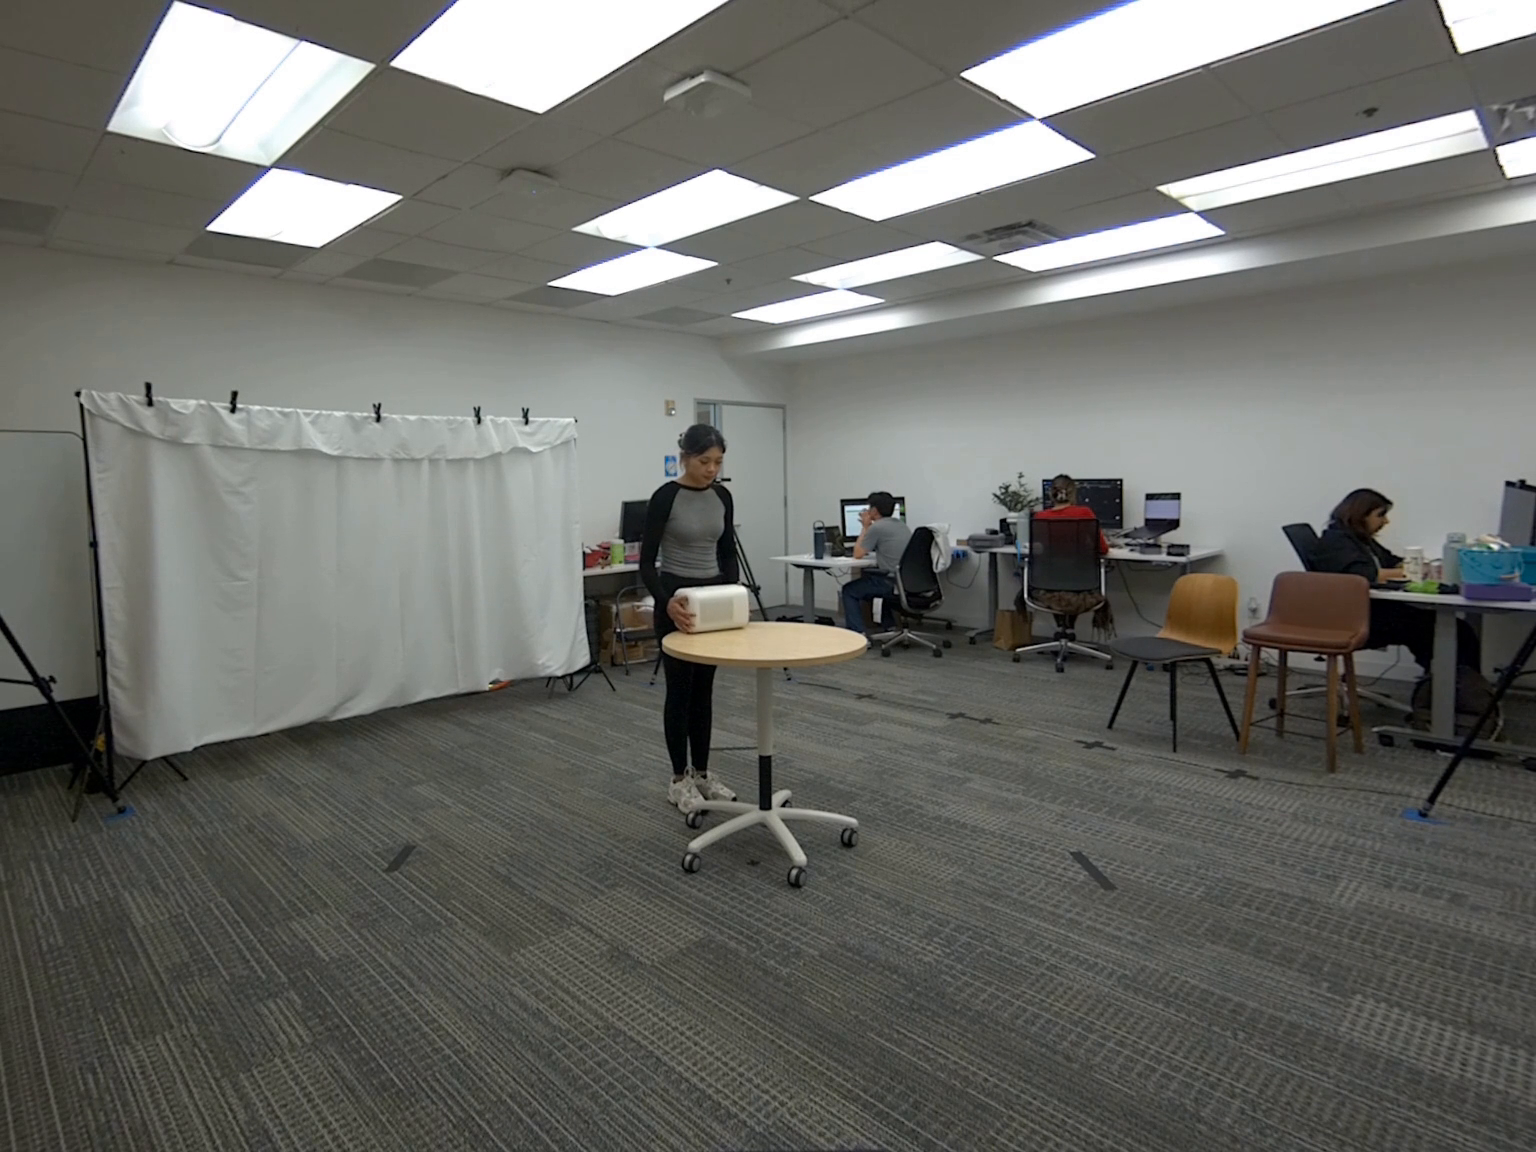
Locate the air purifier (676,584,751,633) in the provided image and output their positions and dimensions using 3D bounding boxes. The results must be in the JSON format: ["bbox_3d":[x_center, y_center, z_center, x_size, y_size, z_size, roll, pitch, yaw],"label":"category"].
[{"bbox_3d":[-0.233,0.130,3.418,0.259,0.171,0.176,-4,7,-32],"label":"air purifier"}]
